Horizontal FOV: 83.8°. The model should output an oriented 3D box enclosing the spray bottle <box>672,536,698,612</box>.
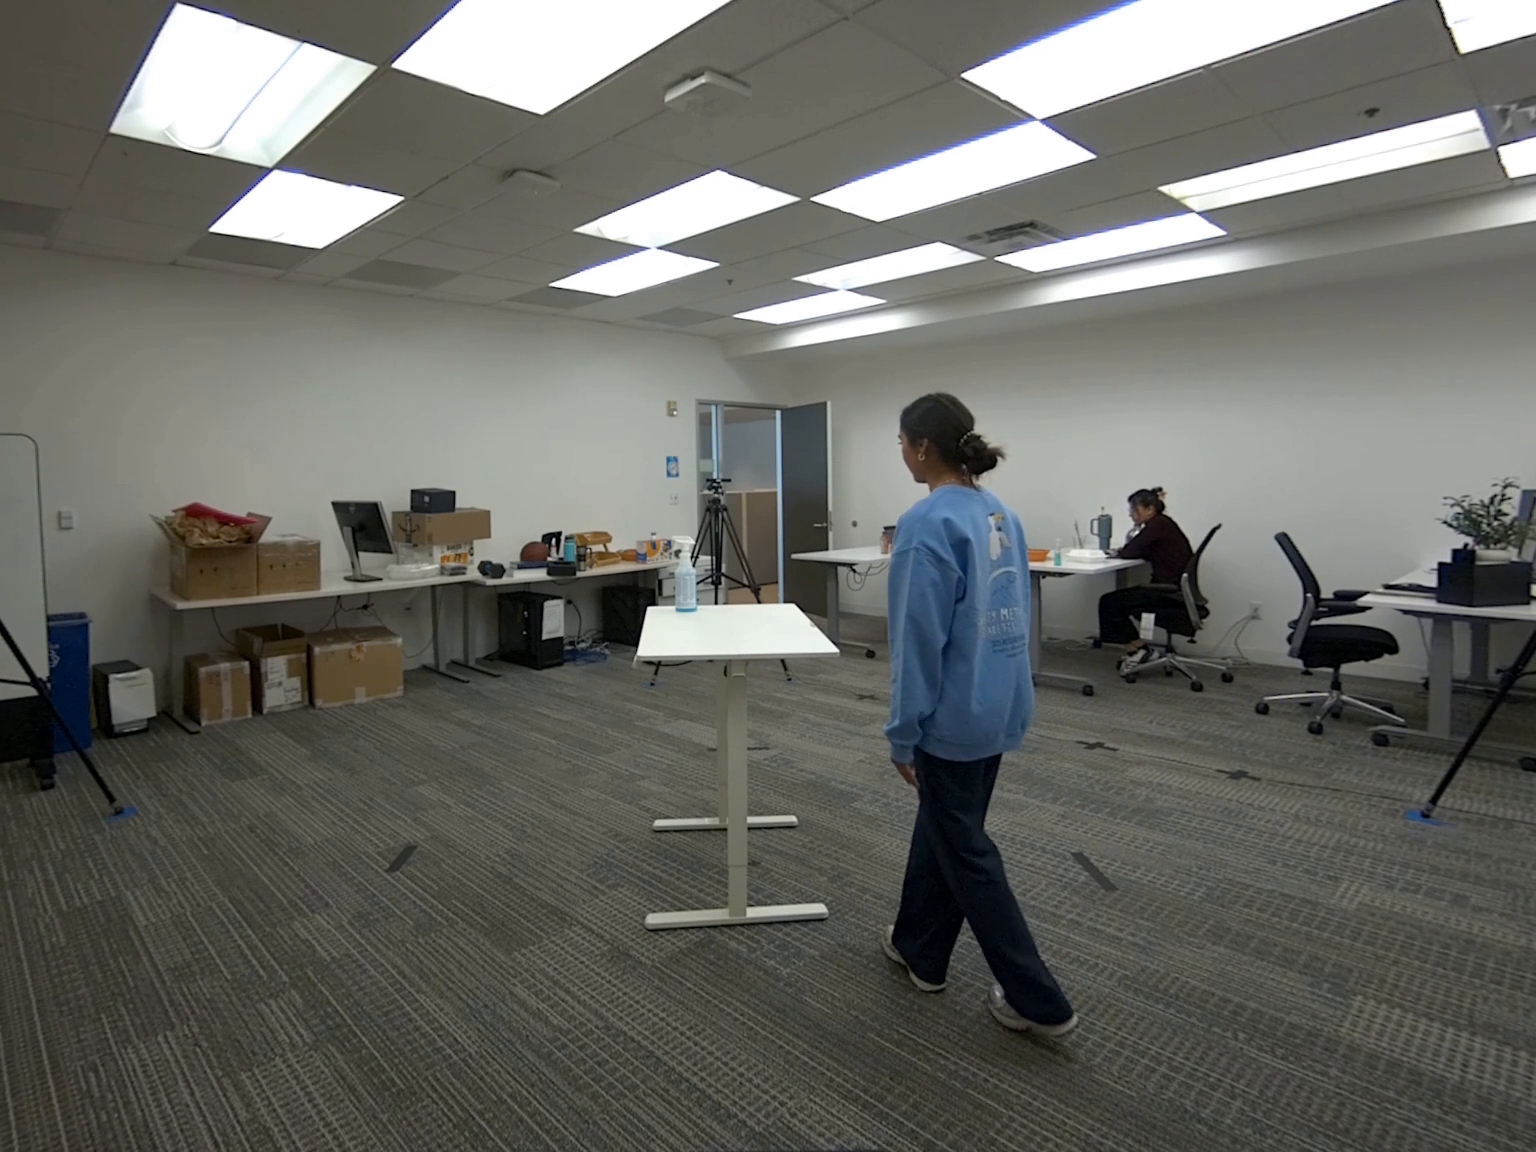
[{"bbox_3d":[-0.326,-0.008,3.369,0.091,0.296,0.086,0,5,15],"label":"spray bottle"}]
